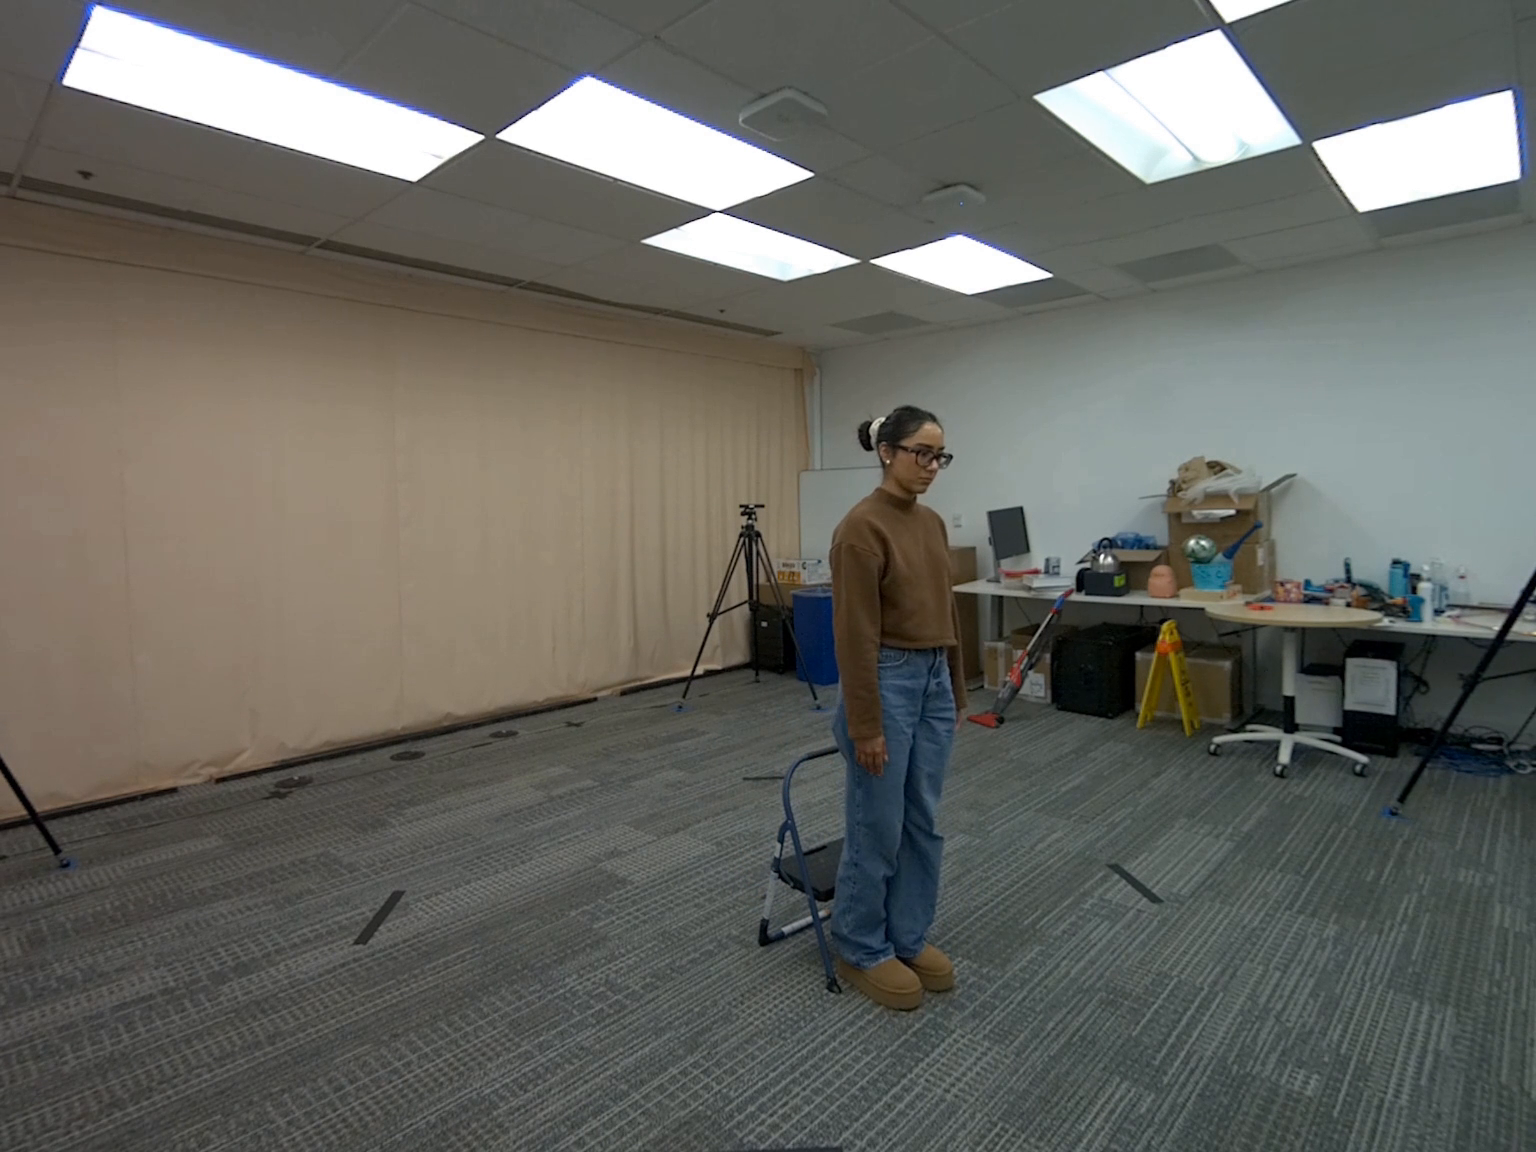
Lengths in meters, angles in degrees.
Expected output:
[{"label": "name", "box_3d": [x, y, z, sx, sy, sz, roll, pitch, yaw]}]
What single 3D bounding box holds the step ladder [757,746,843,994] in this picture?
[{"label": "step ladder", "box_3d": [0.230, 0.861, 2.642, 0.418, 0.605, 0.361, -4, 5, -40]}]
